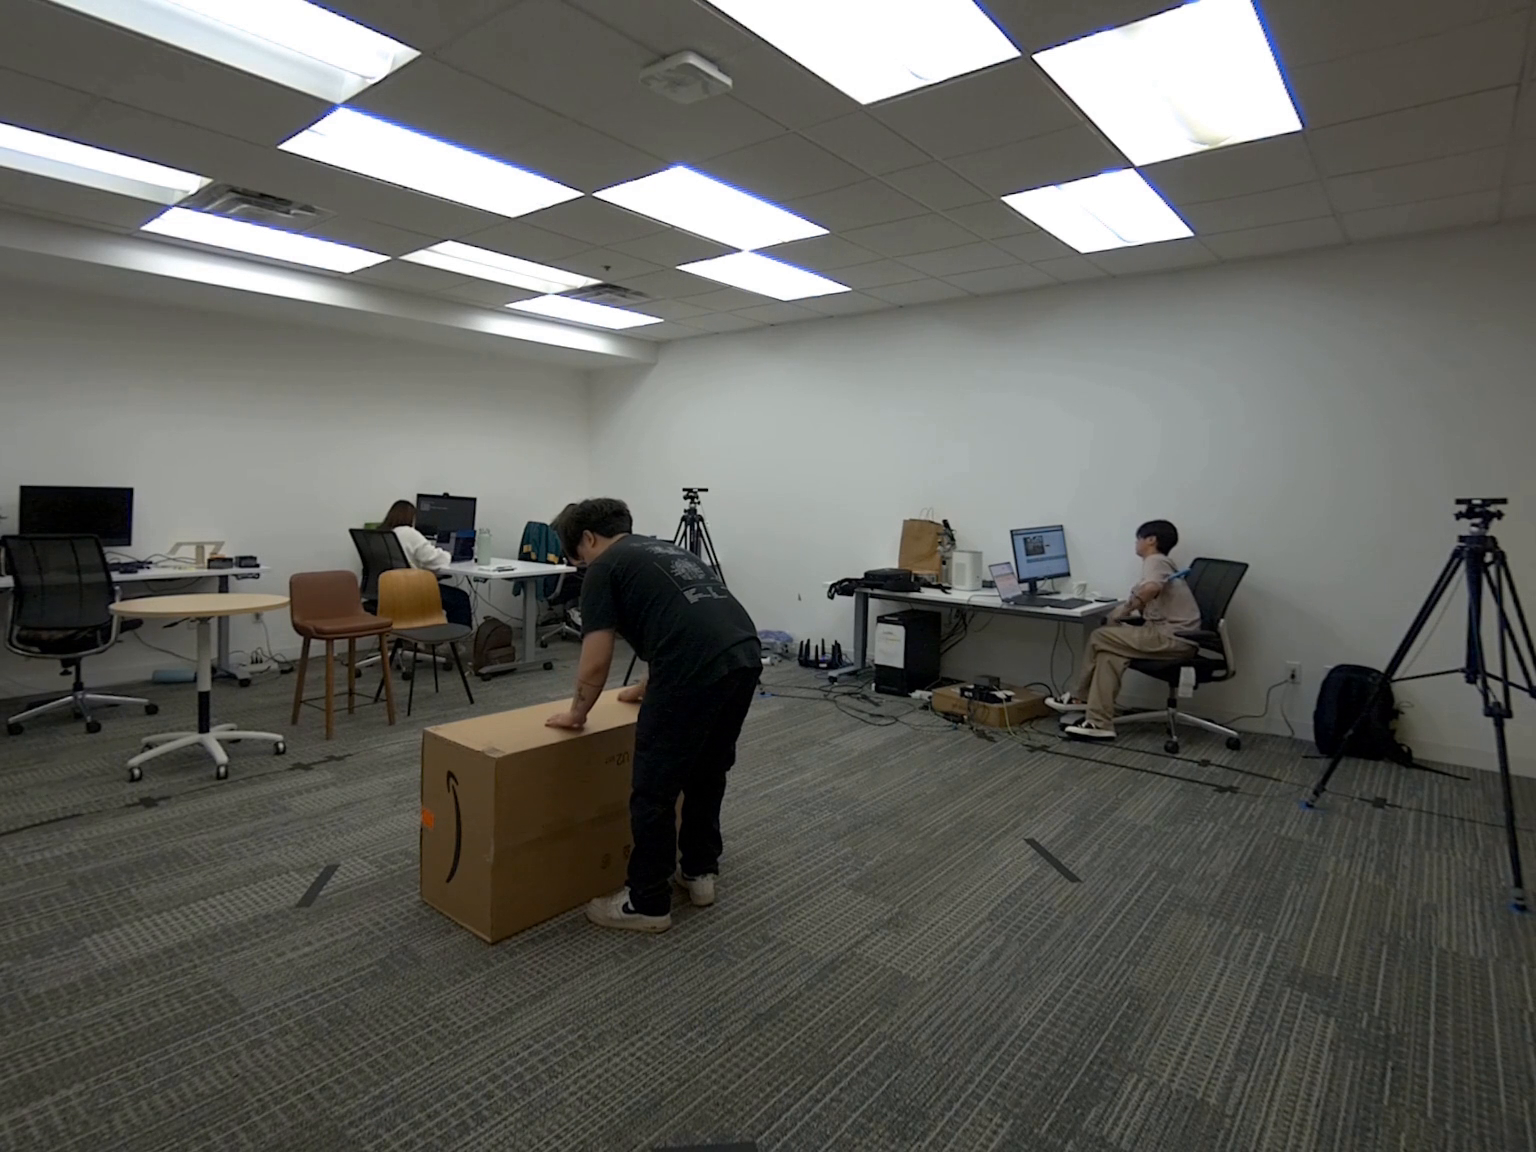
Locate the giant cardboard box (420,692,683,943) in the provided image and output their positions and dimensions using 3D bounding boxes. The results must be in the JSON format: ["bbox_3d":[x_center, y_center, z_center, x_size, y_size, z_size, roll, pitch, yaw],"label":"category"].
[{"bbox_3d":[-0.690,0.780,3.071,0.461,0.582,0.996,3,4,39],"label":"giant cardboard box"}]
